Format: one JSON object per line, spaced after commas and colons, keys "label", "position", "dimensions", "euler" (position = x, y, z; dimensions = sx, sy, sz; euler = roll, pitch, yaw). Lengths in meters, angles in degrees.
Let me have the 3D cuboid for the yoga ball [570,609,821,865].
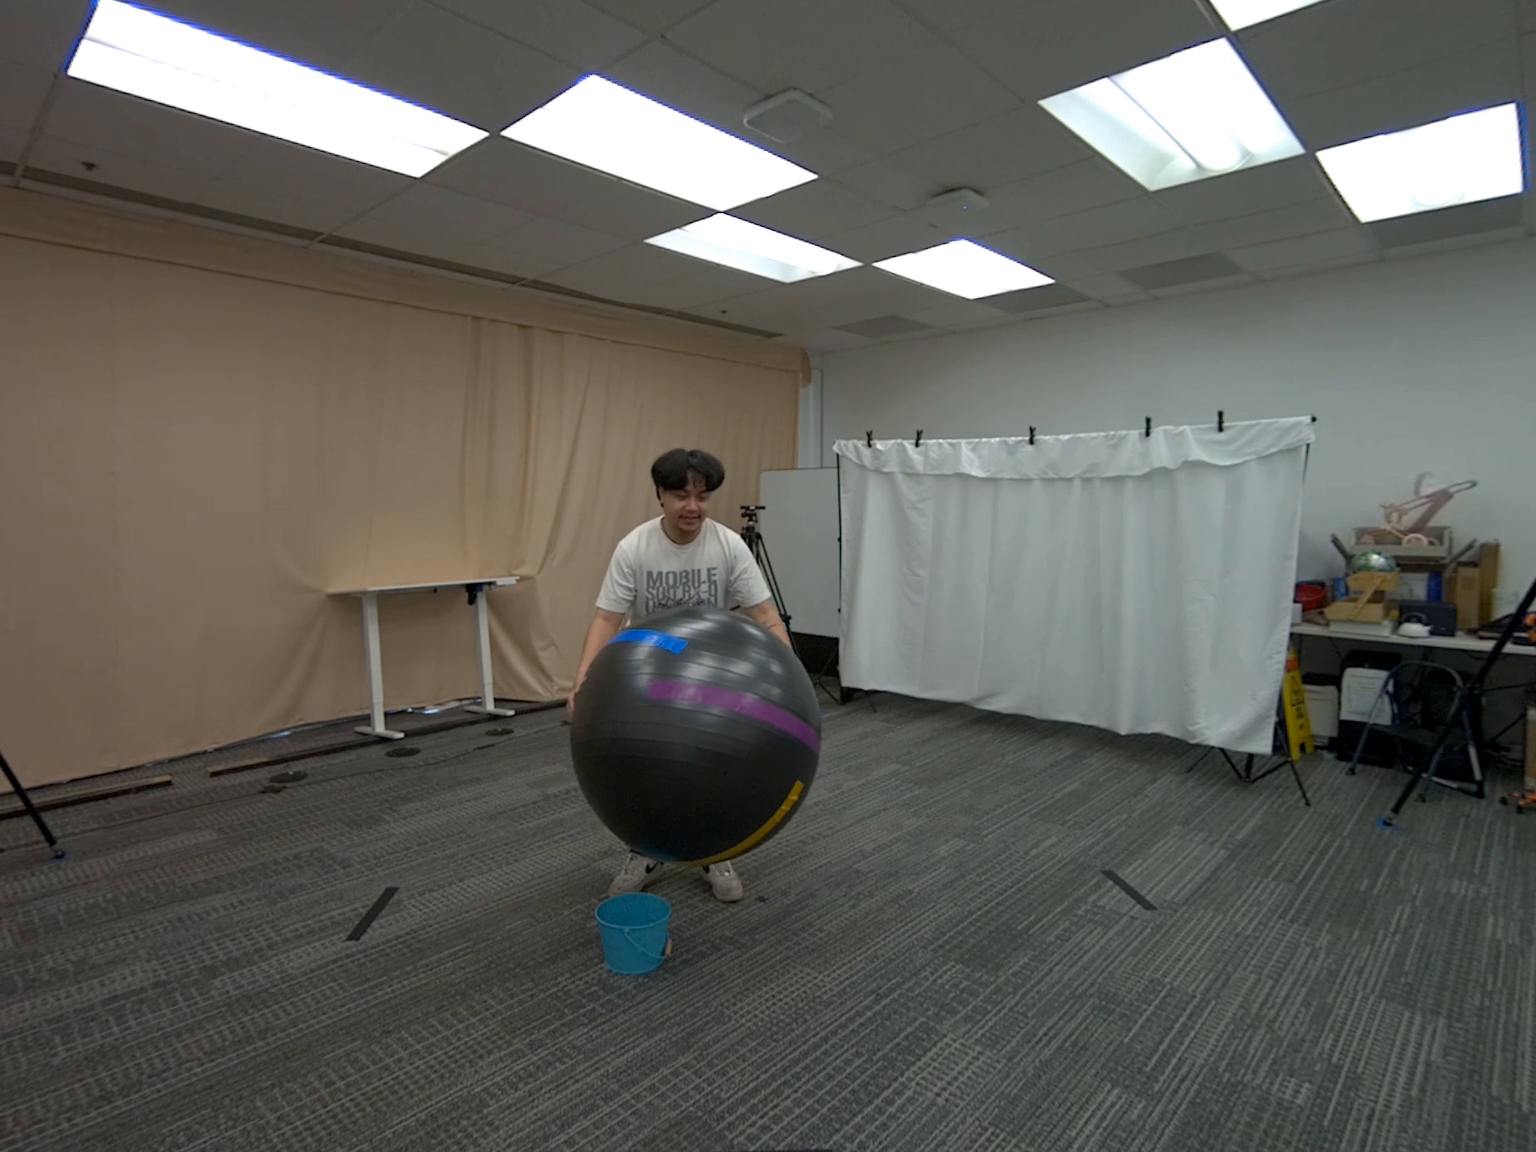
{"label": "yoga ball", "position": [-0.227, 0.481, 2.554], "dimensions": [0.757, 0.756, 0.760], "euler": [0, 4, -2]}
